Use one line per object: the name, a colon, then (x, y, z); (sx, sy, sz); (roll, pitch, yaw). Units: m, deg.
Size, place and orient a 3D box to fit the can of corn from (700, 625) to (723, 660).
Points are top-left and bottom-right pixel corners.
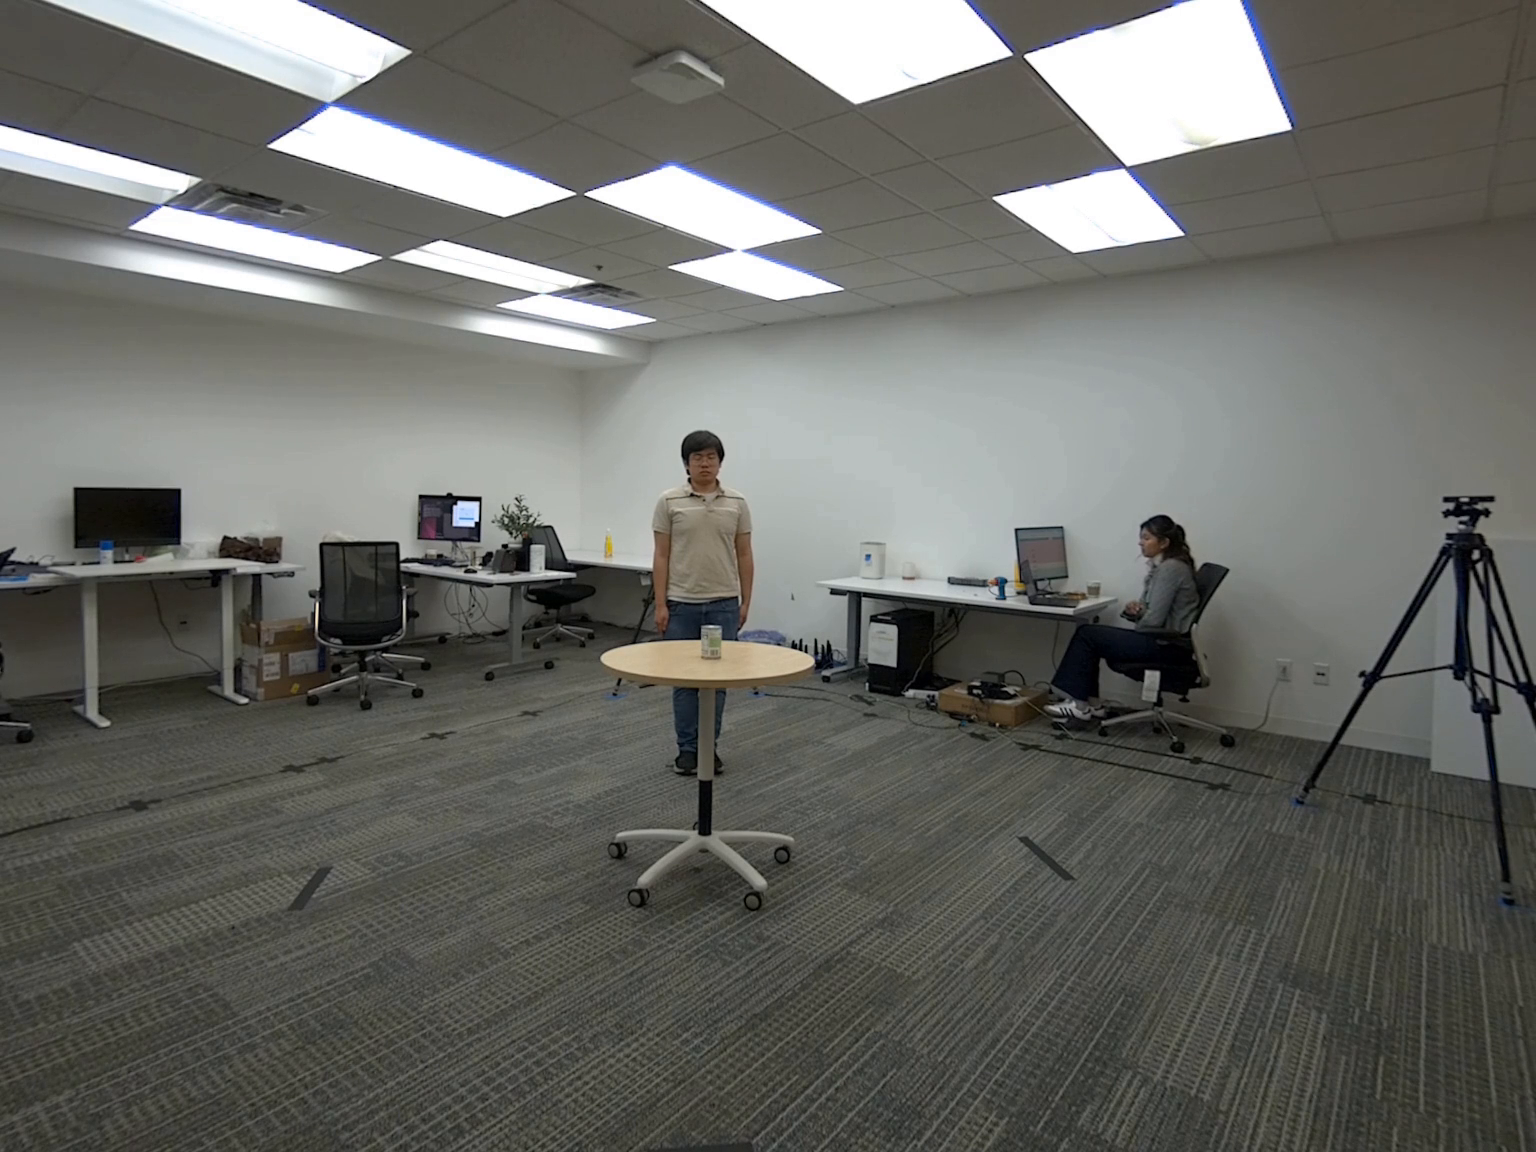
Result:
can of corn: (-0.214, 0.231, 3.052); (0.074, 0.111, 0.074); (0, 3, -2)
